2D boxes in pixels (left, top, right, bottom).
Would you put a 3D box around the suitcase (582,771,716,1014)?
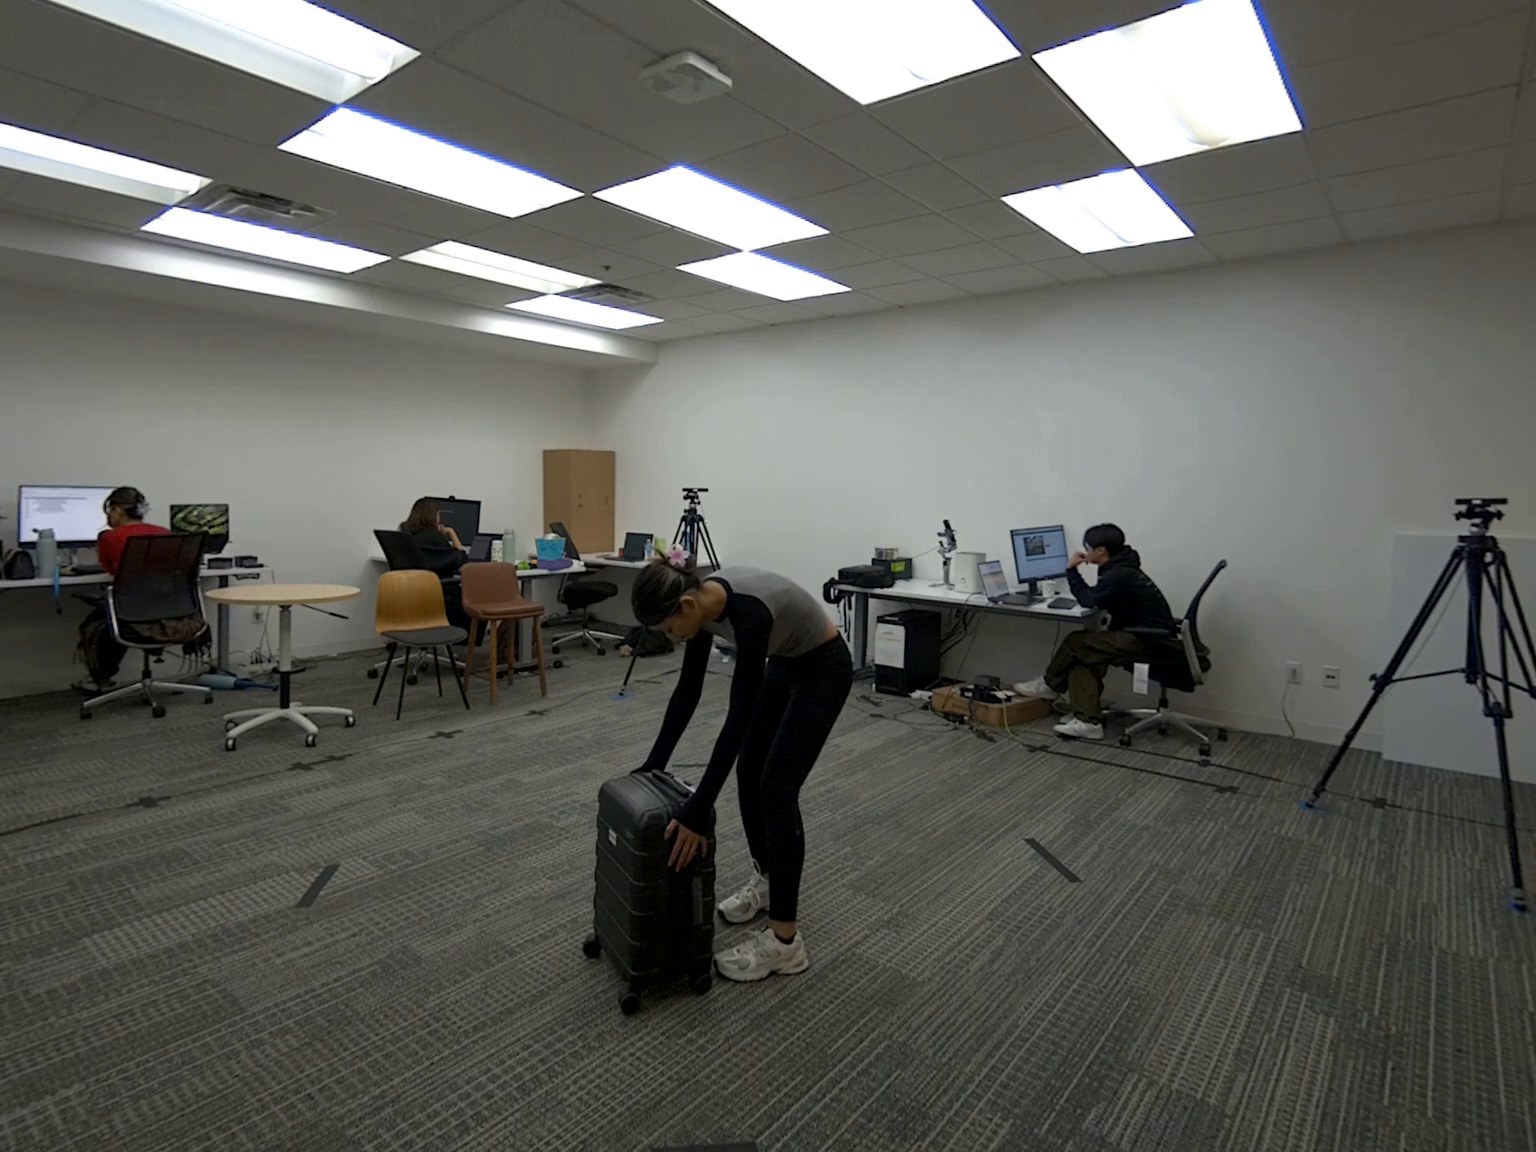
[{"bbox_3d":[-0.335,0.858,2.426,0.242,0.548,0.387,1,4,-30],"label":"suitcase"}]
